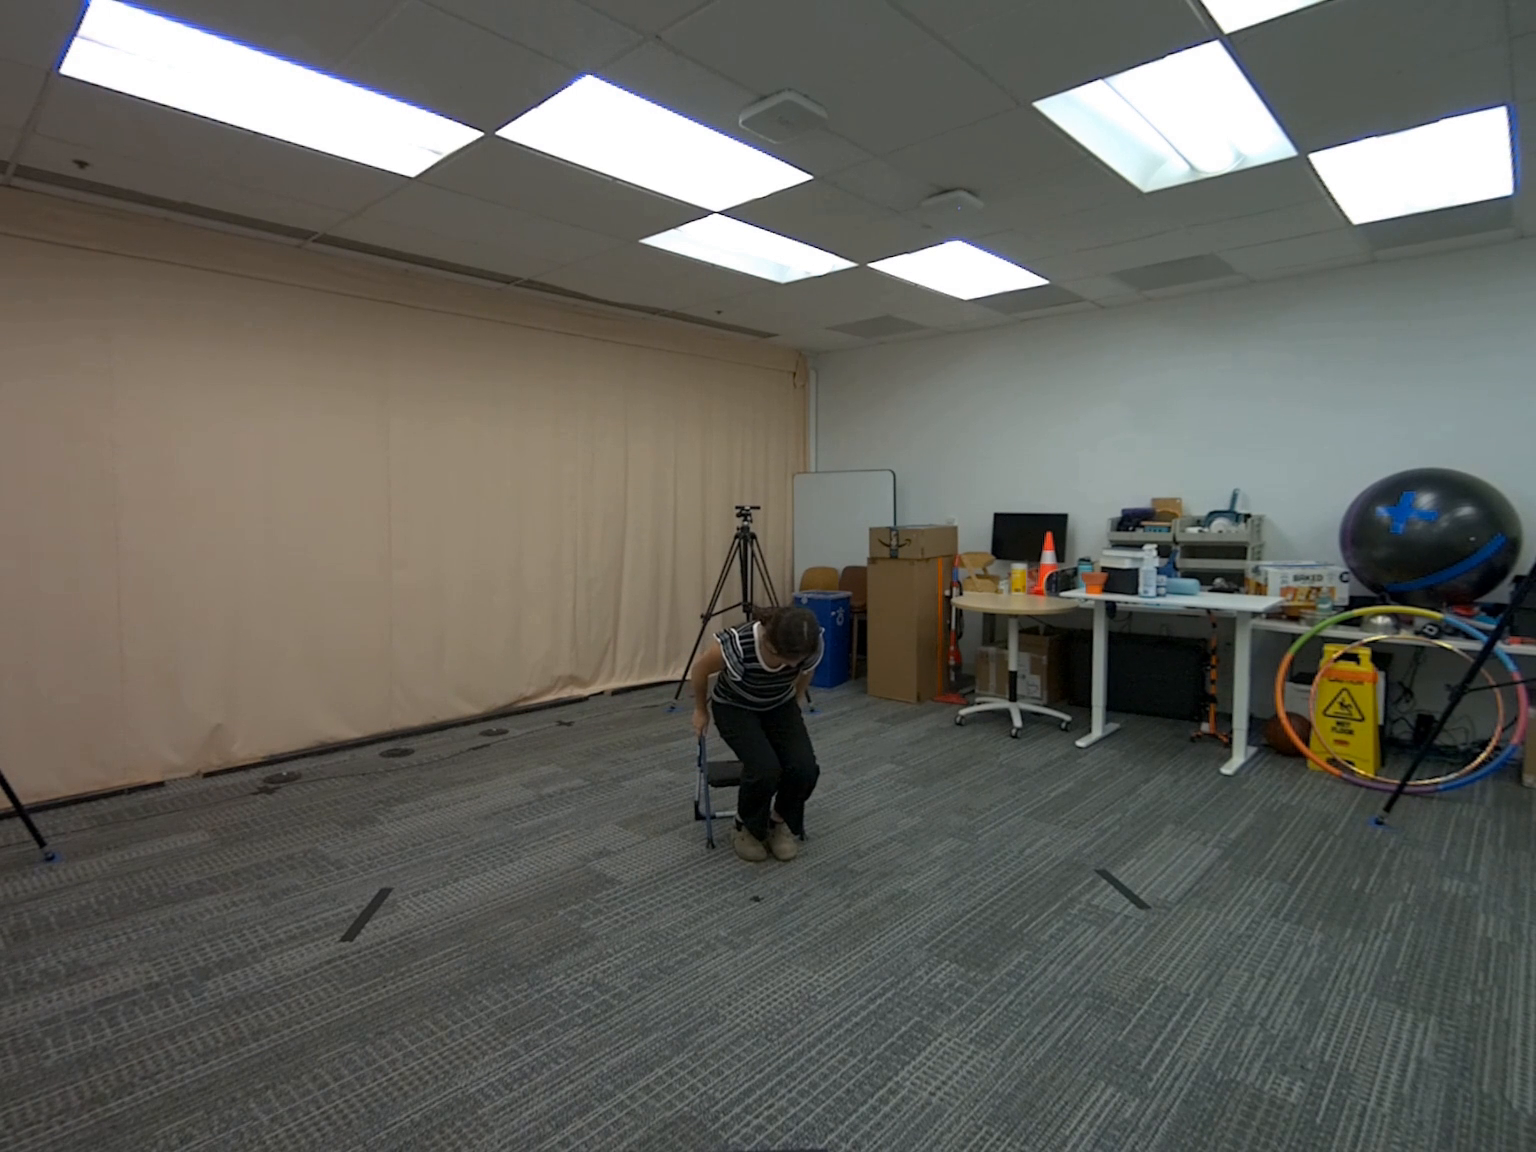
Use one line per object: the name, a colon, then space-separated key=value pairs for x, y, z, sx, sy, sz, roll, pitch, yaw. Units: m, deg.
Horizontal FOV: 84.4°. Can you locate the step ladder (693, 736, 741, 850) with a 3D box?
step ladder: x=-0.083 y=0.791 z=3.621 sx=0.425 sy=0.605 sz=0.355 roll=-1 pitch=3 yaw=-14
